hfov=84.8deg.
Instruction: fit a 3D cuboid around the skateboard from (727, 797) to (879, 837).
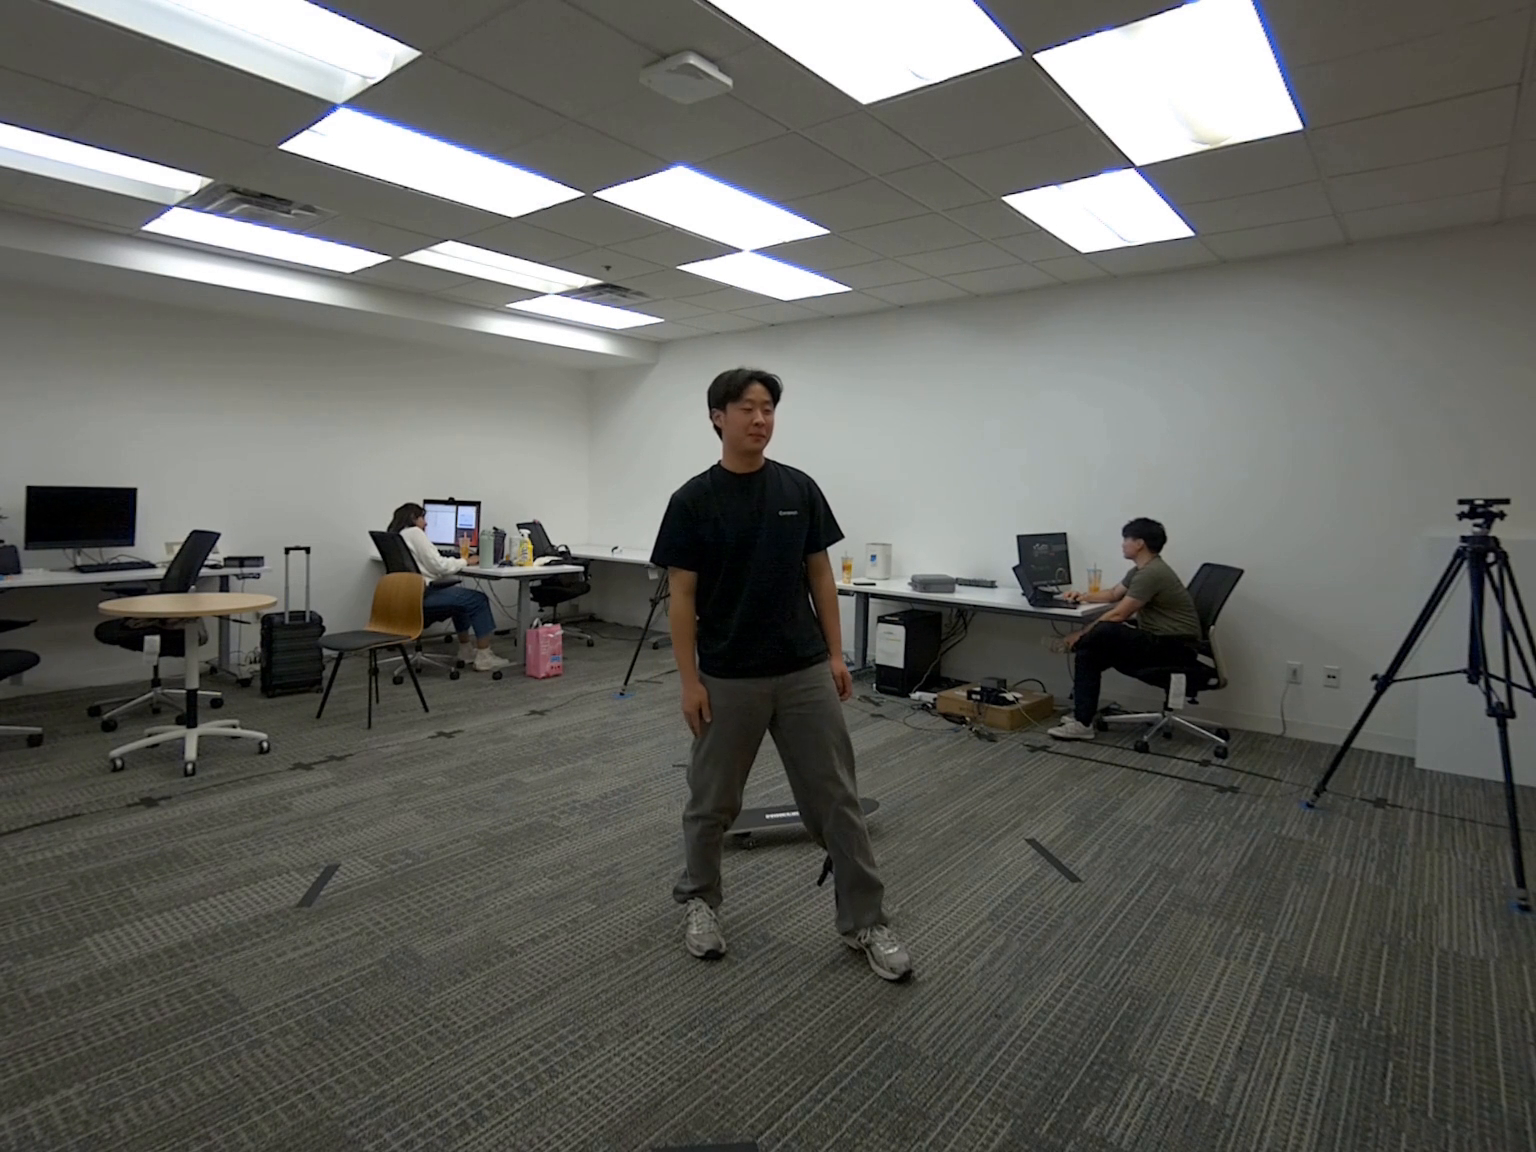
[{"bbox_3d":[0.080,0.989,3.423,0.772,0.110,0.197,-1,6,-16],"label":"skateboard"}]
